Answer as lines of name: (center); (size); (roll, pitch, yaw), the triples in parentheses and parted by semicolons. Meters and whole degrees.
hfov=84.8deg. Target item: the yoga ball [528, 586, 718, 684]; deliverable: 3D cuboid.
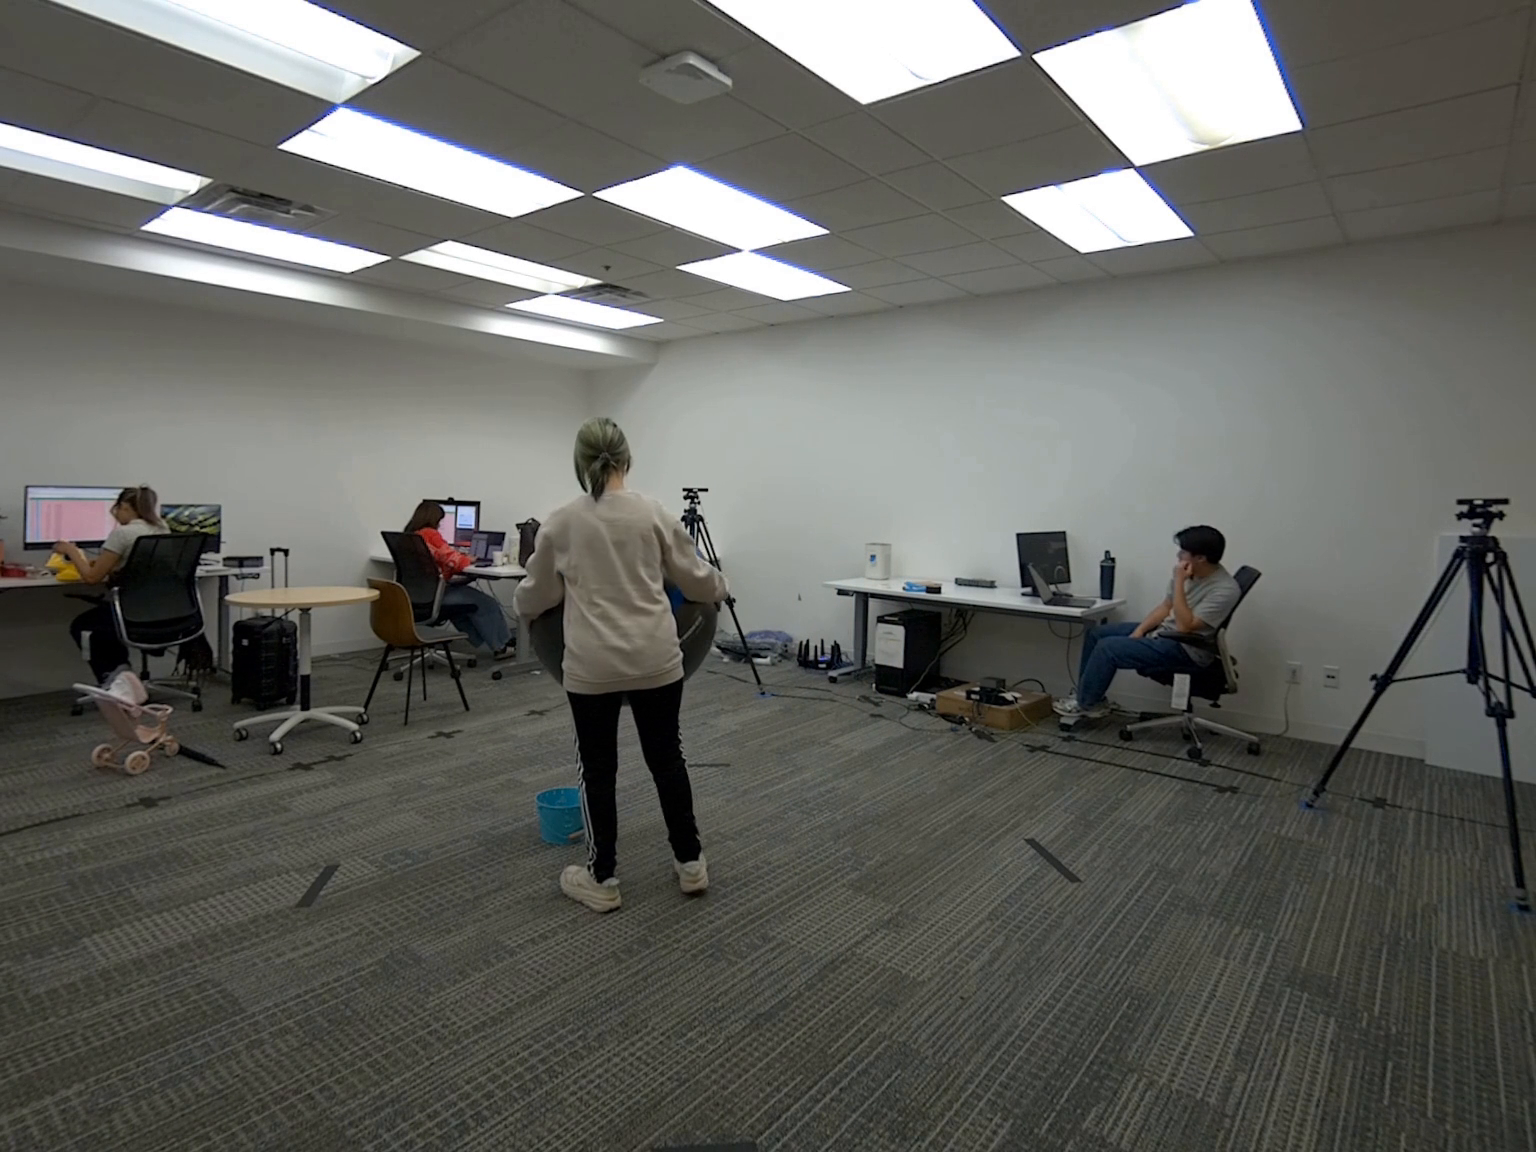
yoga ball: (-0.575, 0.131, 3.333); (0.757, 0.755, 0.762); (1, 4, -2)
